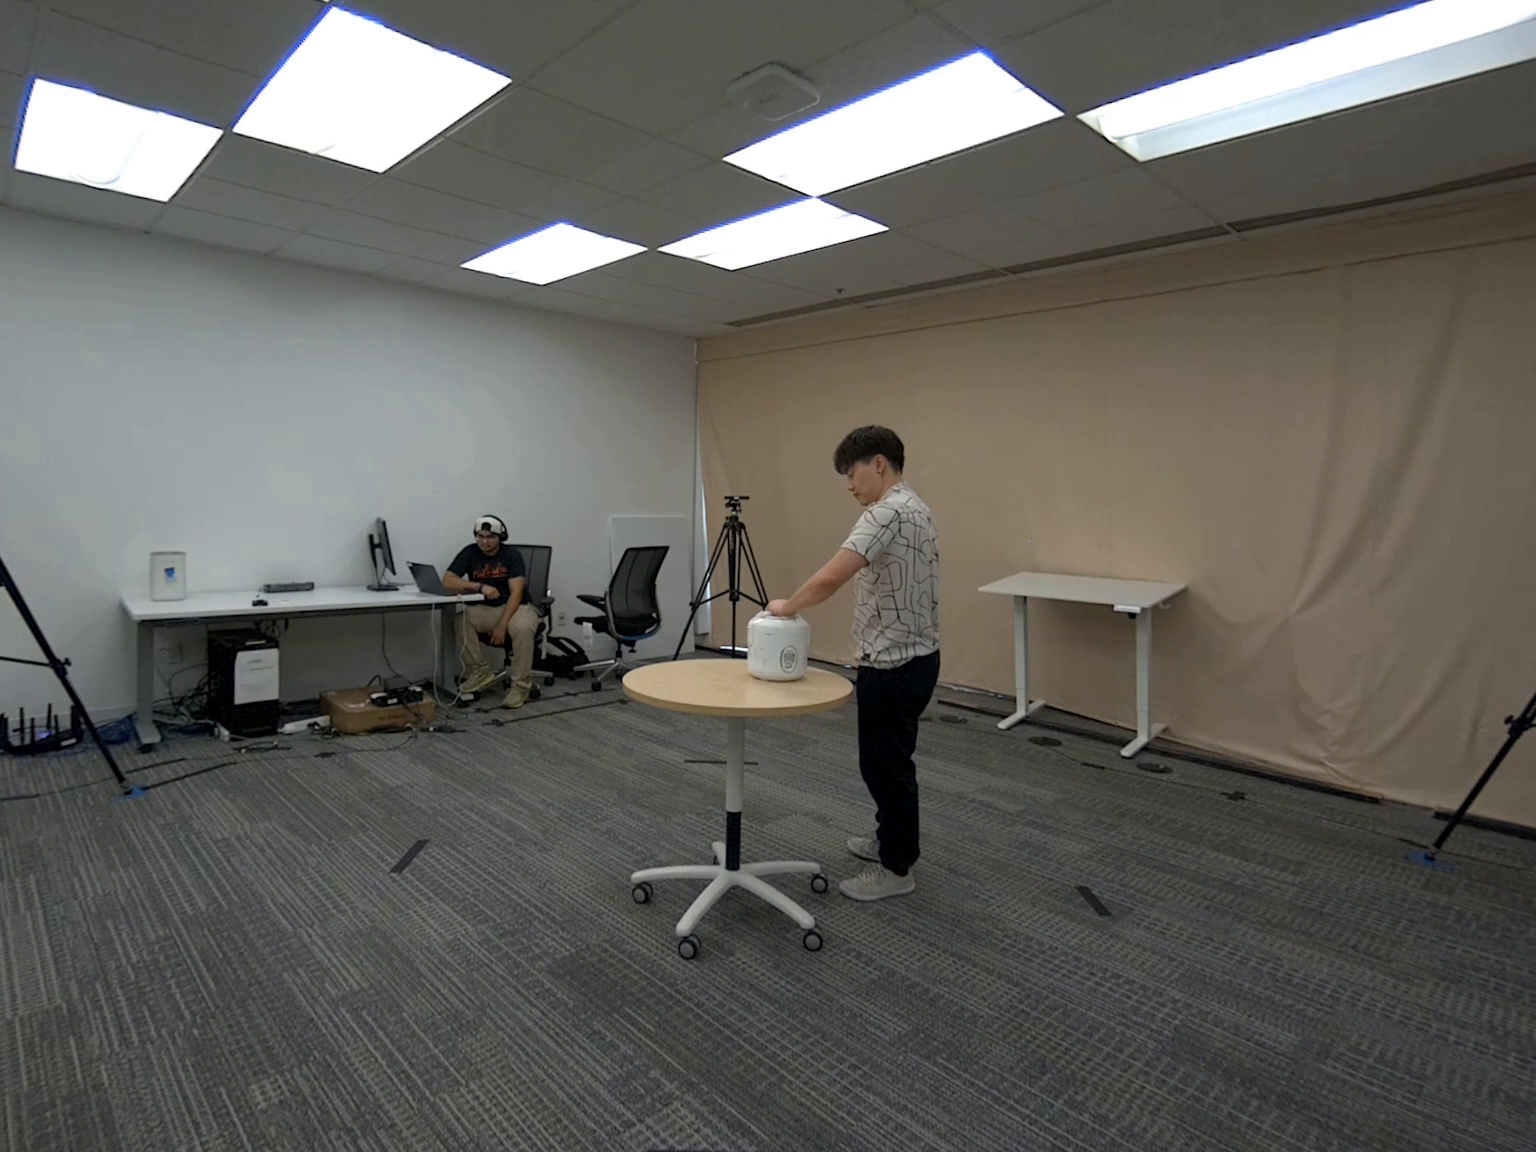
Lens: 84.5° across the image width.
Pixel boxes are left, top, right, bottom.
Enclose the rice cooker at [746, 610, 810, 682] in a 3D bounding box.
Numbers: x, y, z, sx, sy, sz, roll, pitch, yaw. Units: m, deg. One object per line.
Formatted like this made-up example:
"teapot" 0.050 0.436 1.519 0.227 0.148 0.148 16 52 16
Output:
"rice cooker" 0.031 0.229 2.884 0.217 0.232 0.221 -1 4 -20
